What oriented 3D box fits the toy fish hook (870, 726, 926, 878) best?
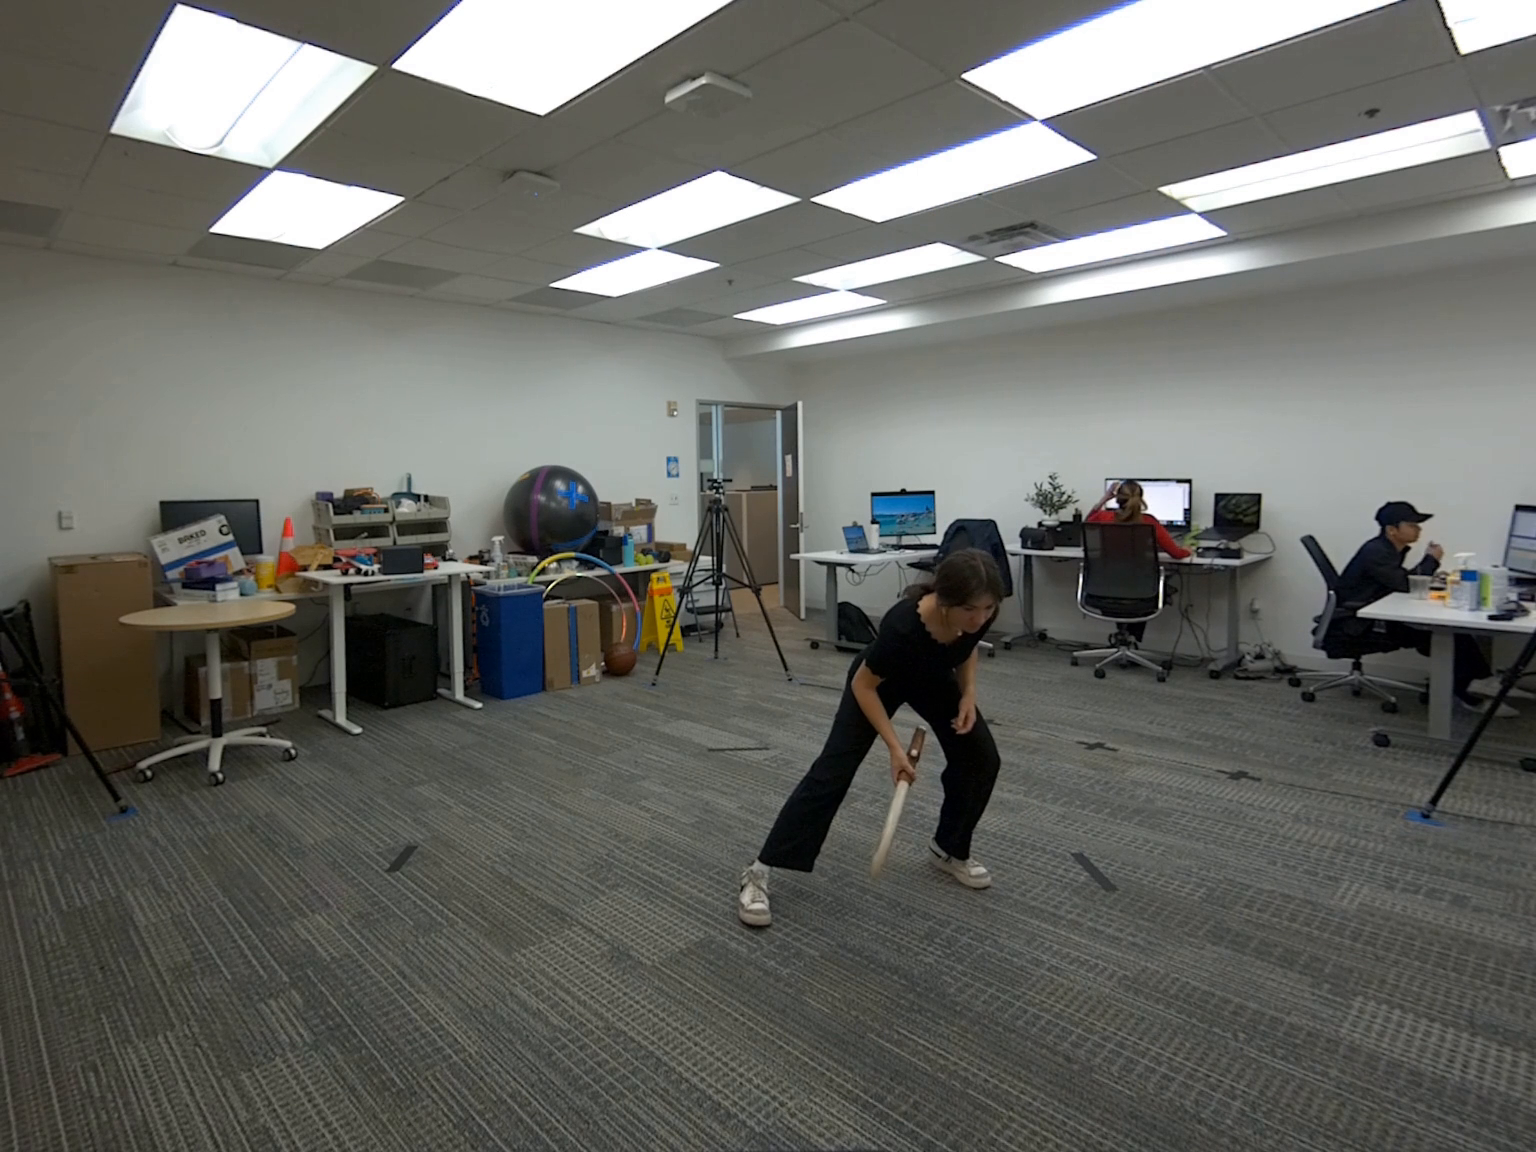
[{"bbox_3d":[0.402,0.715,2.695,0.049,0.512,0.220,19,-31,6],"label":"toy fish hook"}]
